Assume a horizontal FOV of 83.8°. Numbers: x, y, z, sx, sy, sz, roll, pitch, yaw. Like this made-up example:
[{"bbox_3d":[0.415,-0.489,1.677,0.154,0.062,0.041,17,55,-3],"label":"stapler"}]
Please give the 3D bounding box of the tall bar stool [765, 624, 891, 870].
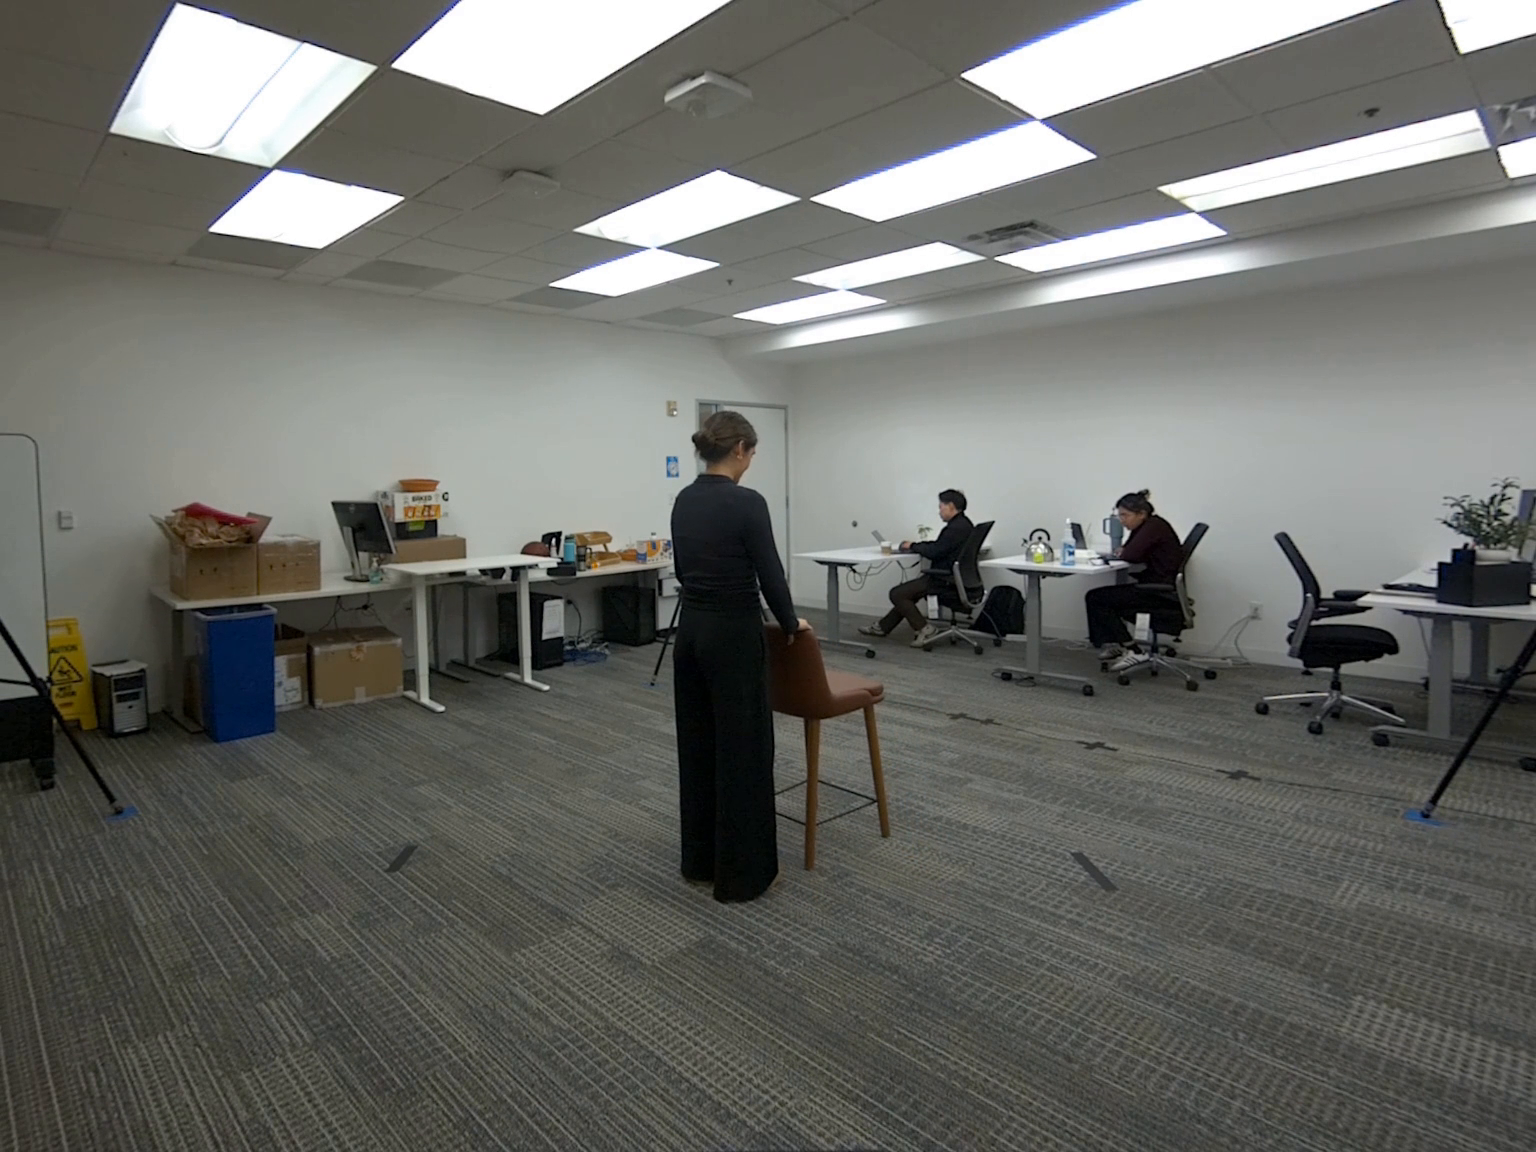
[{"bbox_3d":[0.164,0.581,3.291,0.456,0.885,0.470,-7,7,-42],"label":"tall bar stool"}]
